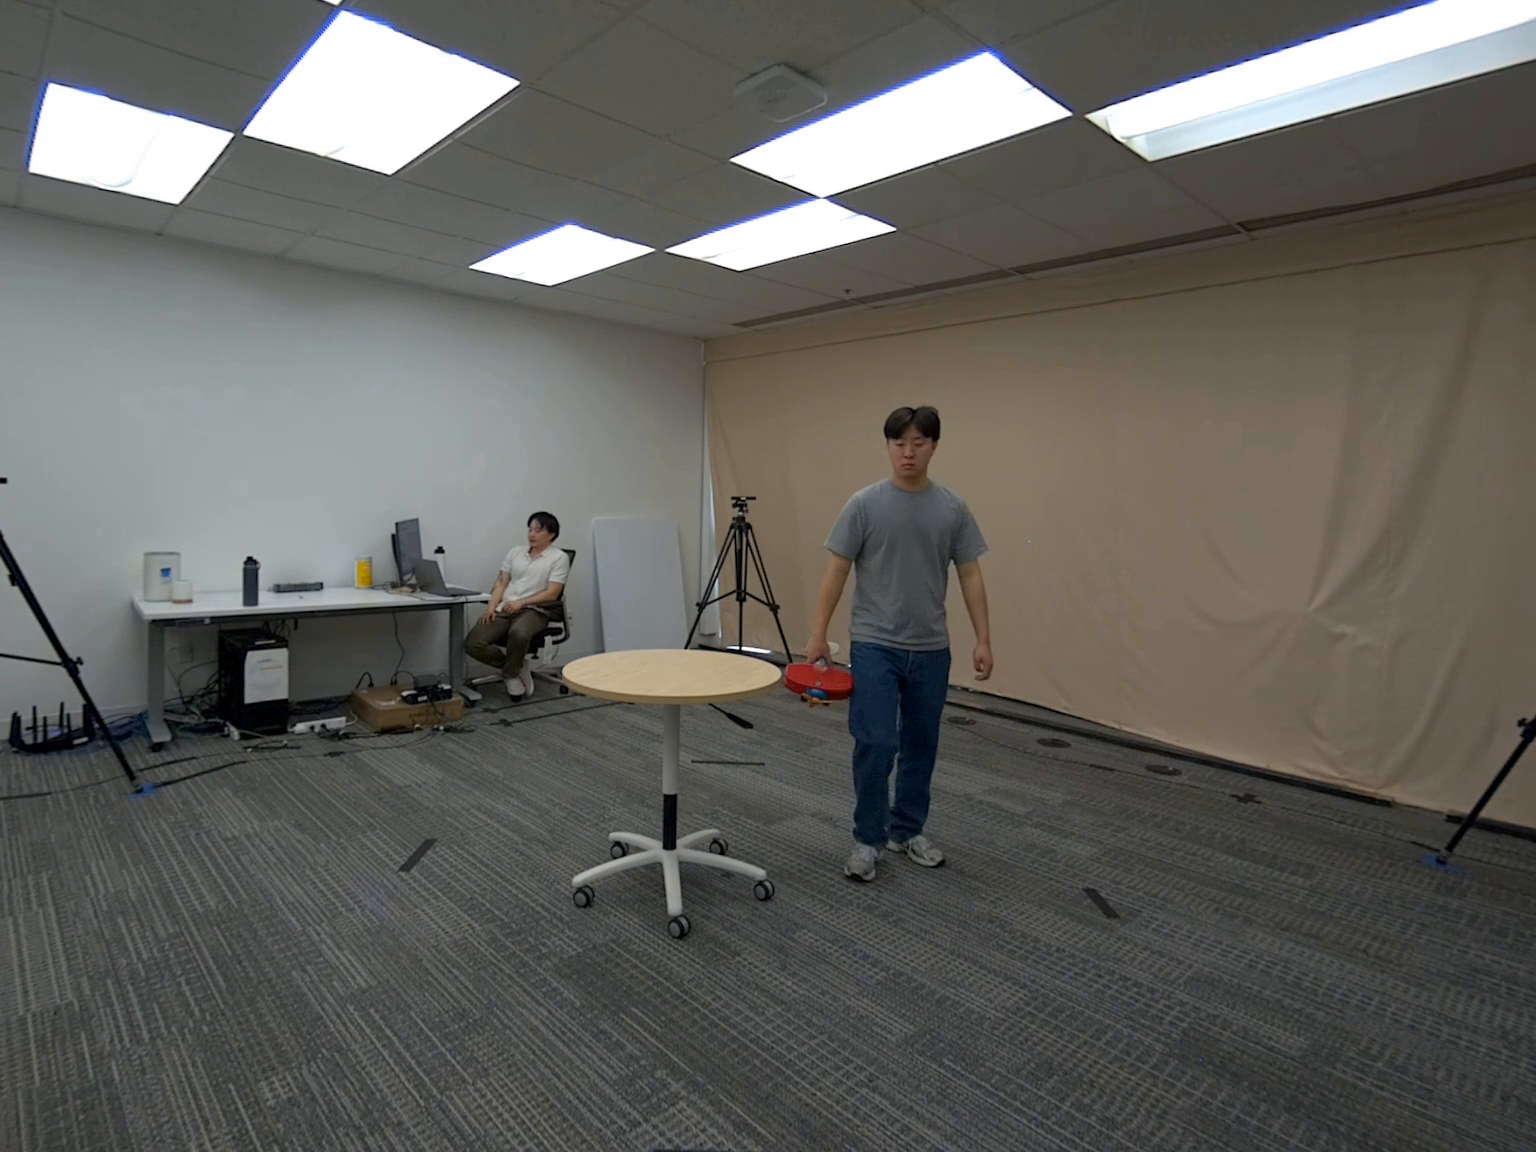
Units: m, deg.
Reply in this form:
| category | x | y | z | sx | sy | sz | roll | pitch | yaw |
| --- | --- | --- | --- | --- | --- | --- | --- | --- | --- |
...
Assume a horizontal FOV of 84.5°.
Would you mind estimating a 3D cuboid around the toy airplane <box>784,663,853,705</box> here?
| category | x | y | z | sx | sy | sz | roll | pitch | yaw |
| --- | --- | --- | --- | --- | --- | --- | --- | --- | --- |
| toy airplane | 0.169 | 0.369 | 3.220 | 0.250 | 0.264 | 0.154 | -17 | -19 | -3 |
